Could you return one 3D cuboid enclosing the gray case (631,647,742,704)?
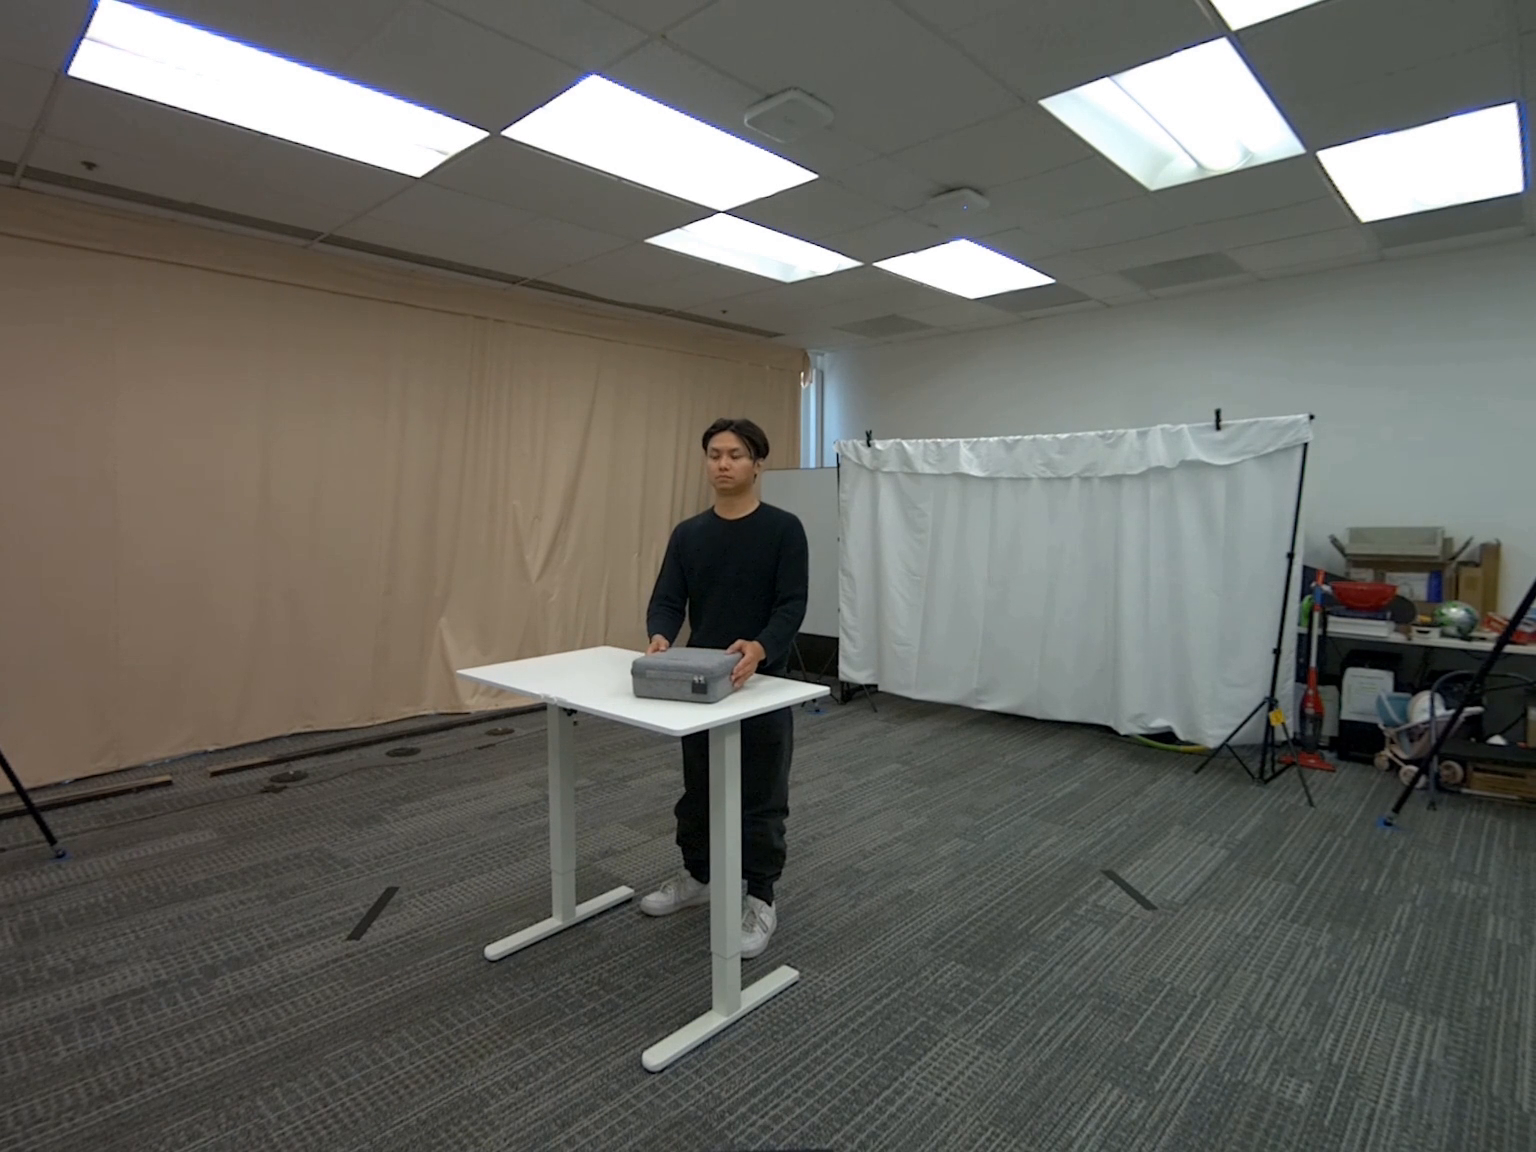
[{"bbox_3d":[-0.231,0.268,2.324,0.263,0.104,0.255,0,4,21],"label":"gray case"}]
